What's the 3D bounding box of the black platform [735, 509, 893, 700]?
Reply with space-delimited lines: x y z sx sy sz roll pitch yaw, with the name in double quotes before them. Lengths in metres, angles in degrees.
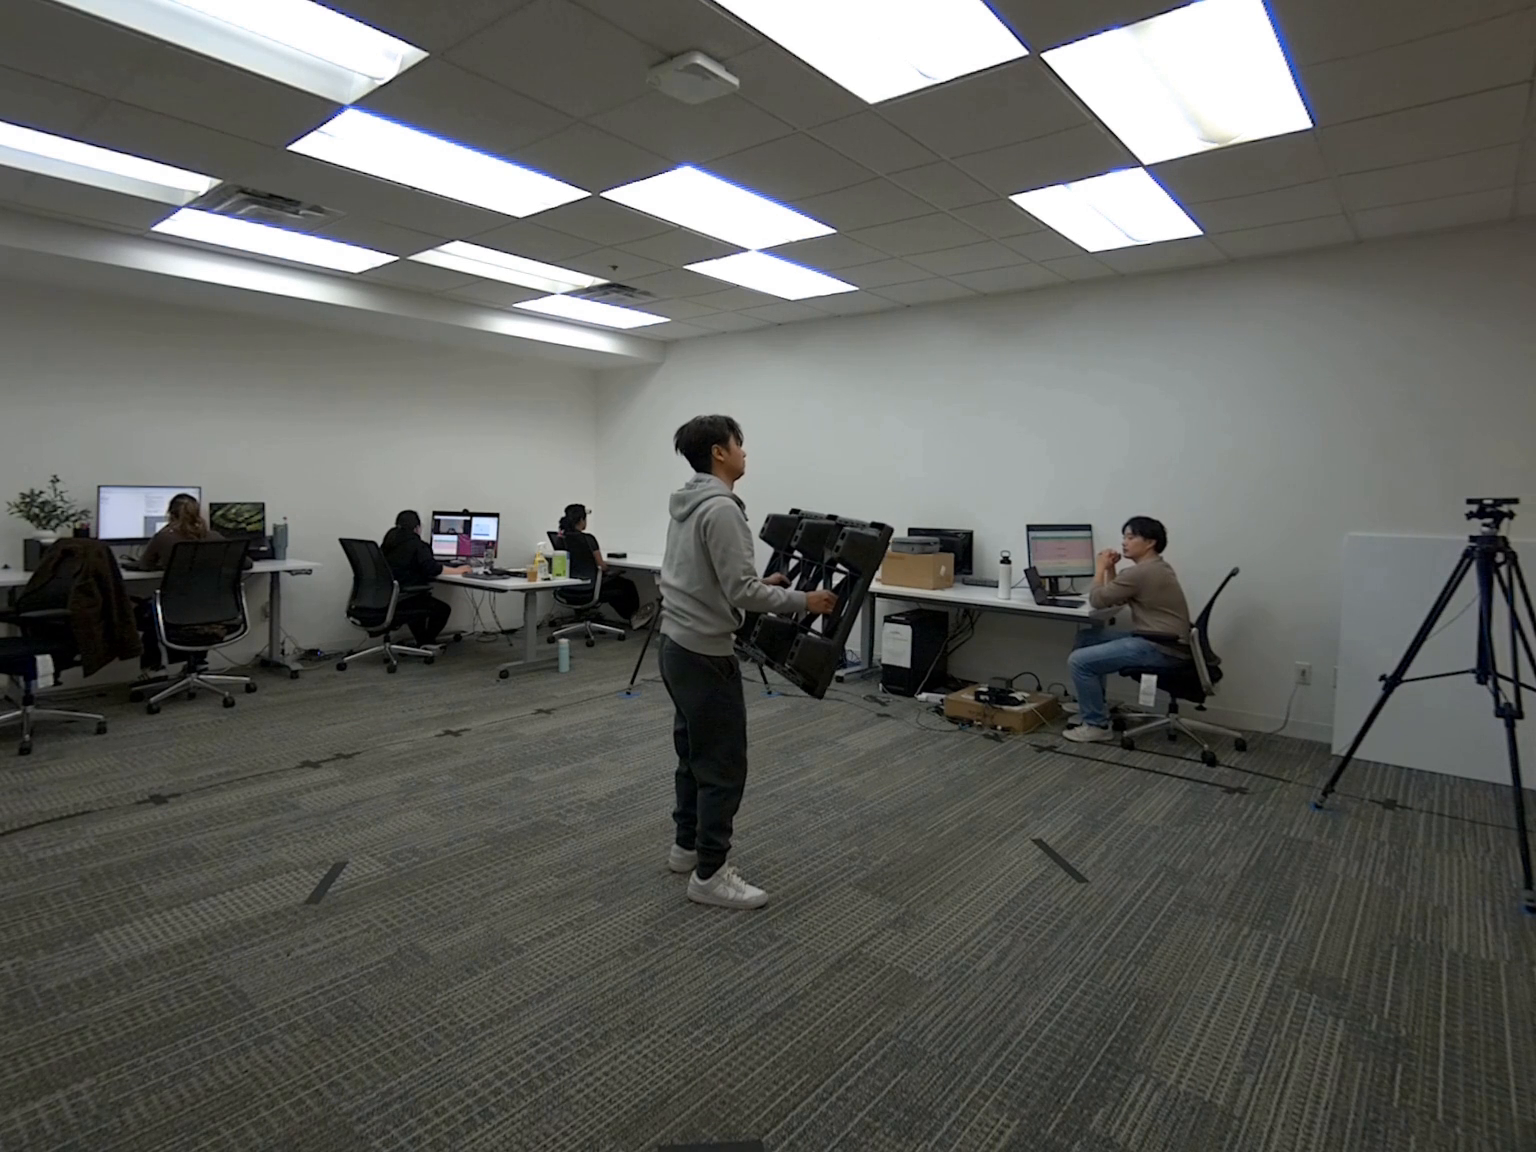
"black platform" 0.083 0.048 3.058 0.139 0.605 0.826 24 -1 -22
